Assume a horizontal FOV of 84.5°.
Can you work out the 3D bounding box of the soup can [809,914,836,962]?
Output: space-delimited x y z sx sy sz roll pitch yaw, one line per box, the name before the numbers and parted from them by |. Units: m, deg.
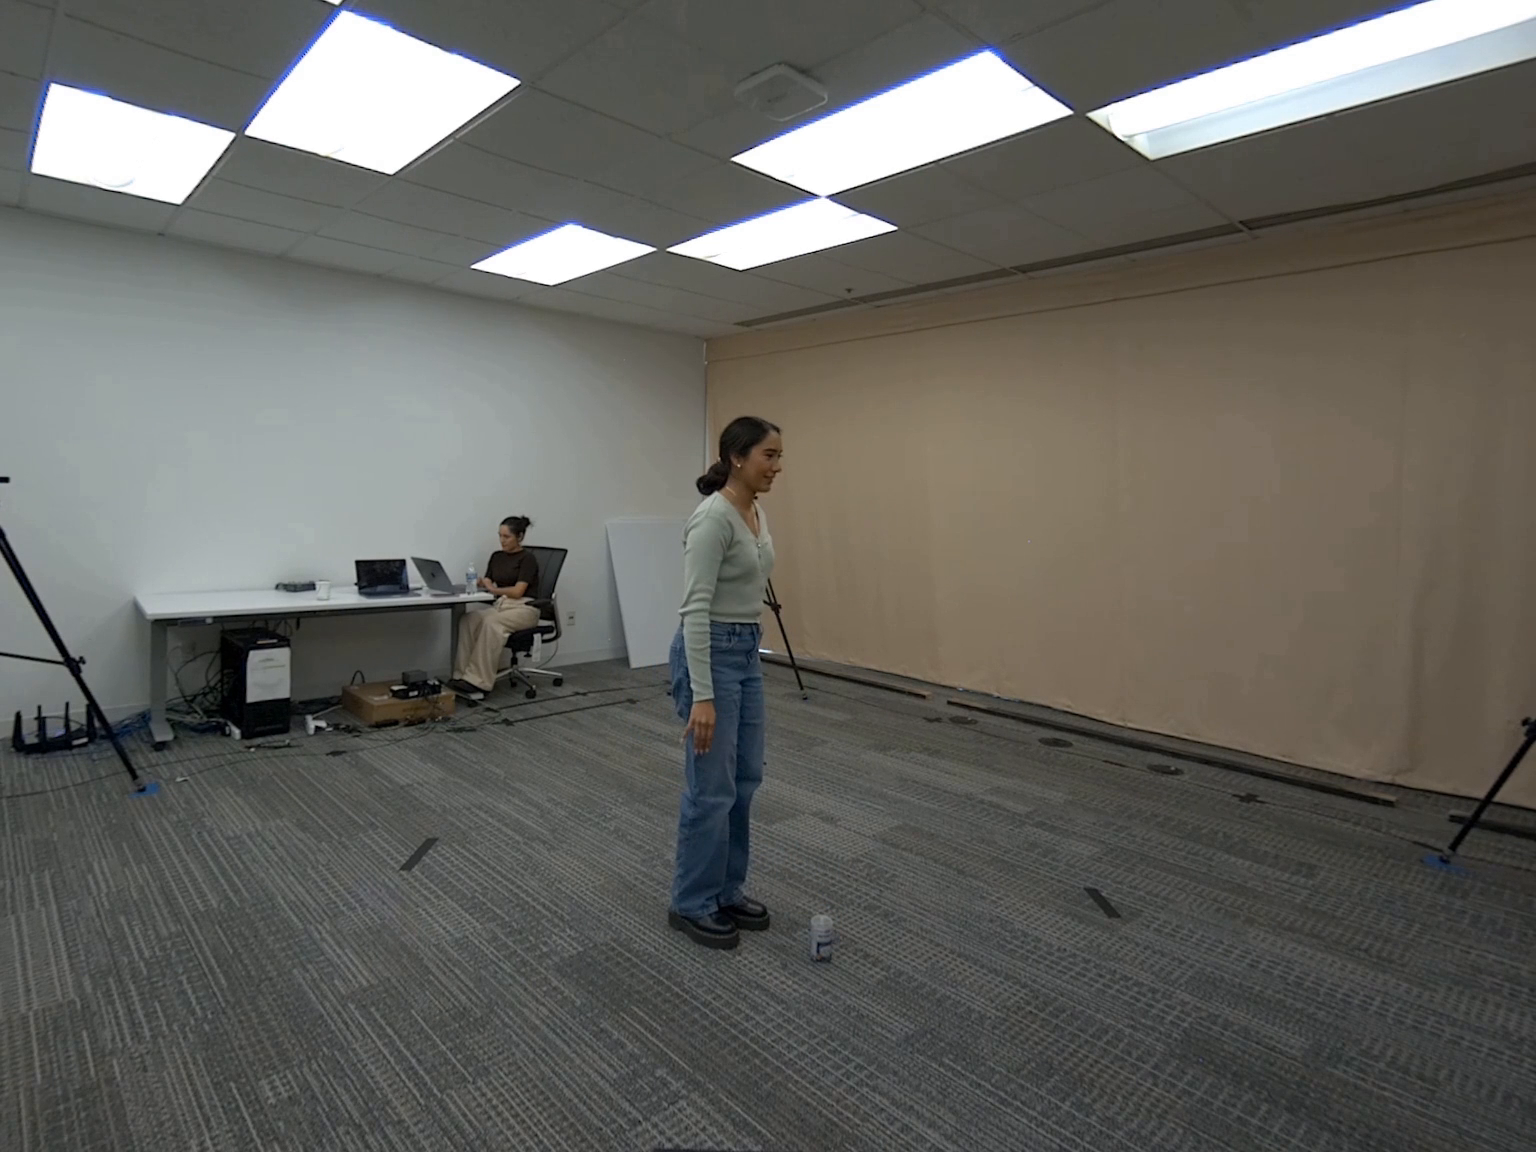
soup can | 0.153 1.103 2.543 0.067 0.121 0.067 4 6 -2
